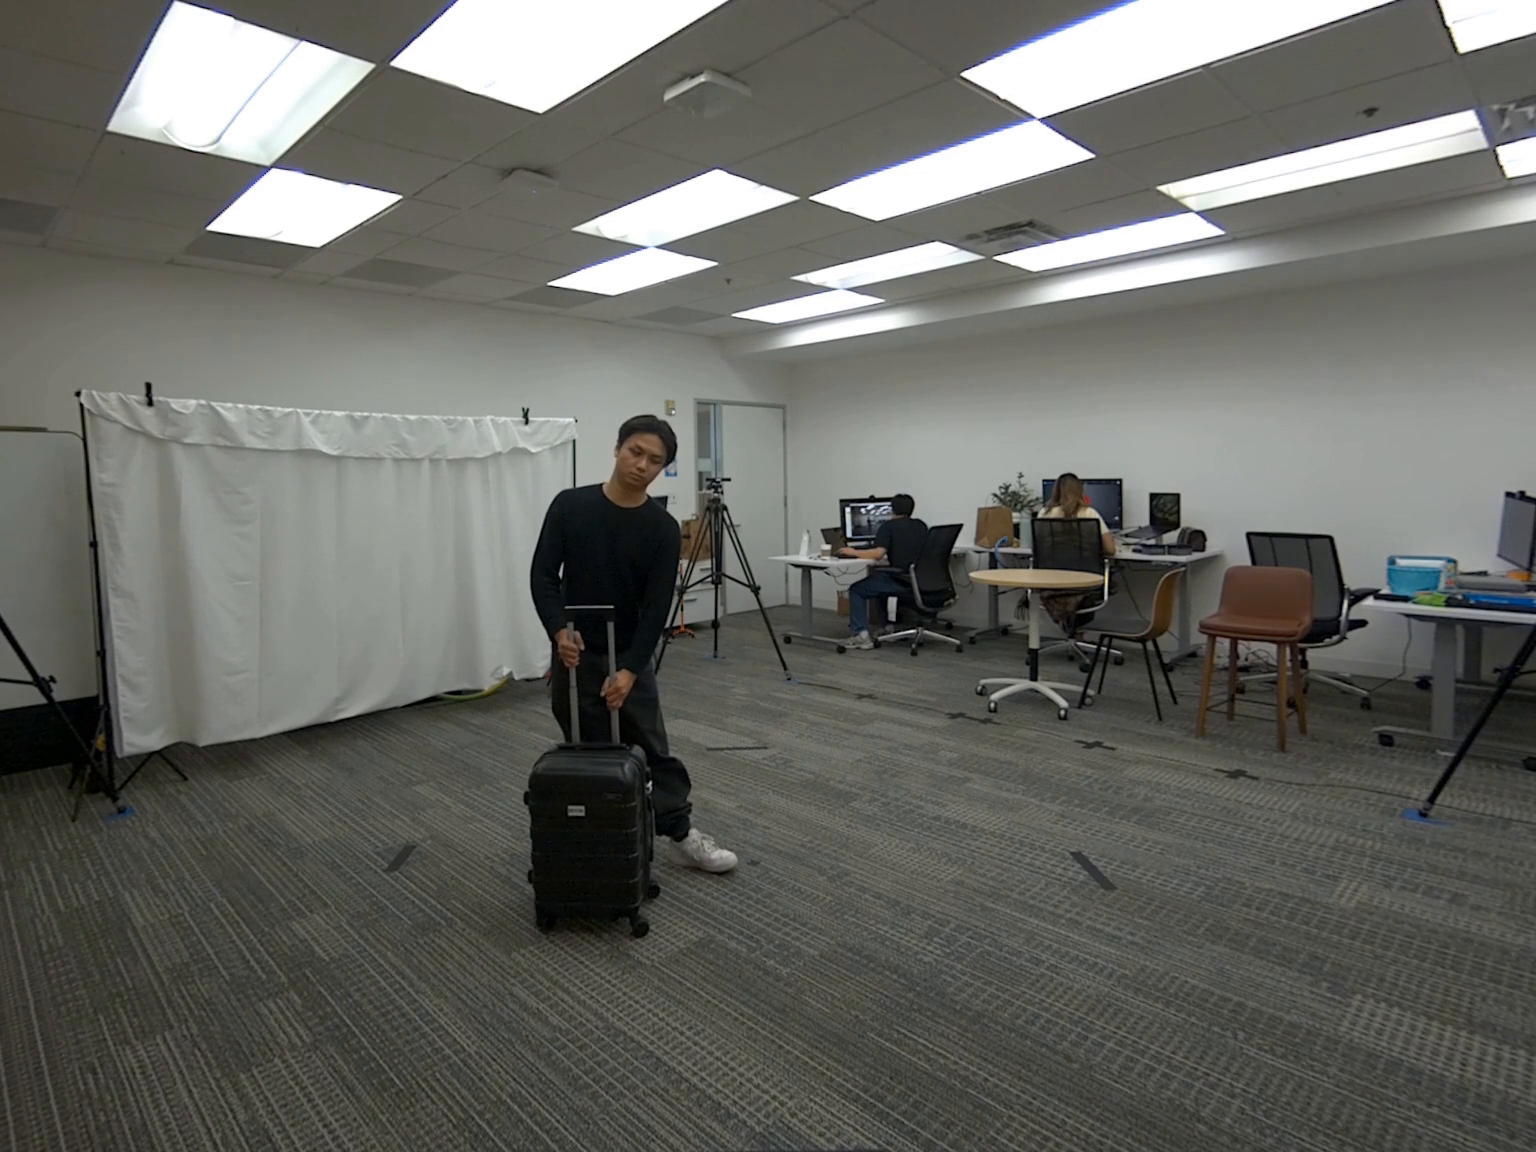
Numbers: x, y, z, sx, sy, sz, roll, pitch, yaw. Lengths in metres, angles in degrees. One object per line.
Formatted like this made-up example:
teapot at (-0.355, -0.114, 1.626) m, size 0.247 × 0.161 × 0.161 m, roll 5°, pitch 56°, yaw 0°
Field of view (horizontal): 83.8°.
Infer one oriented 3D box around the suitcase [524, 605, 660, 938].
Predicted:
suitcase at (-0.562, 0.613, 2.686) m, size 0.386 × 0.970 × 0.258 m, roll -1°, pitch 9°, yaw 4°
